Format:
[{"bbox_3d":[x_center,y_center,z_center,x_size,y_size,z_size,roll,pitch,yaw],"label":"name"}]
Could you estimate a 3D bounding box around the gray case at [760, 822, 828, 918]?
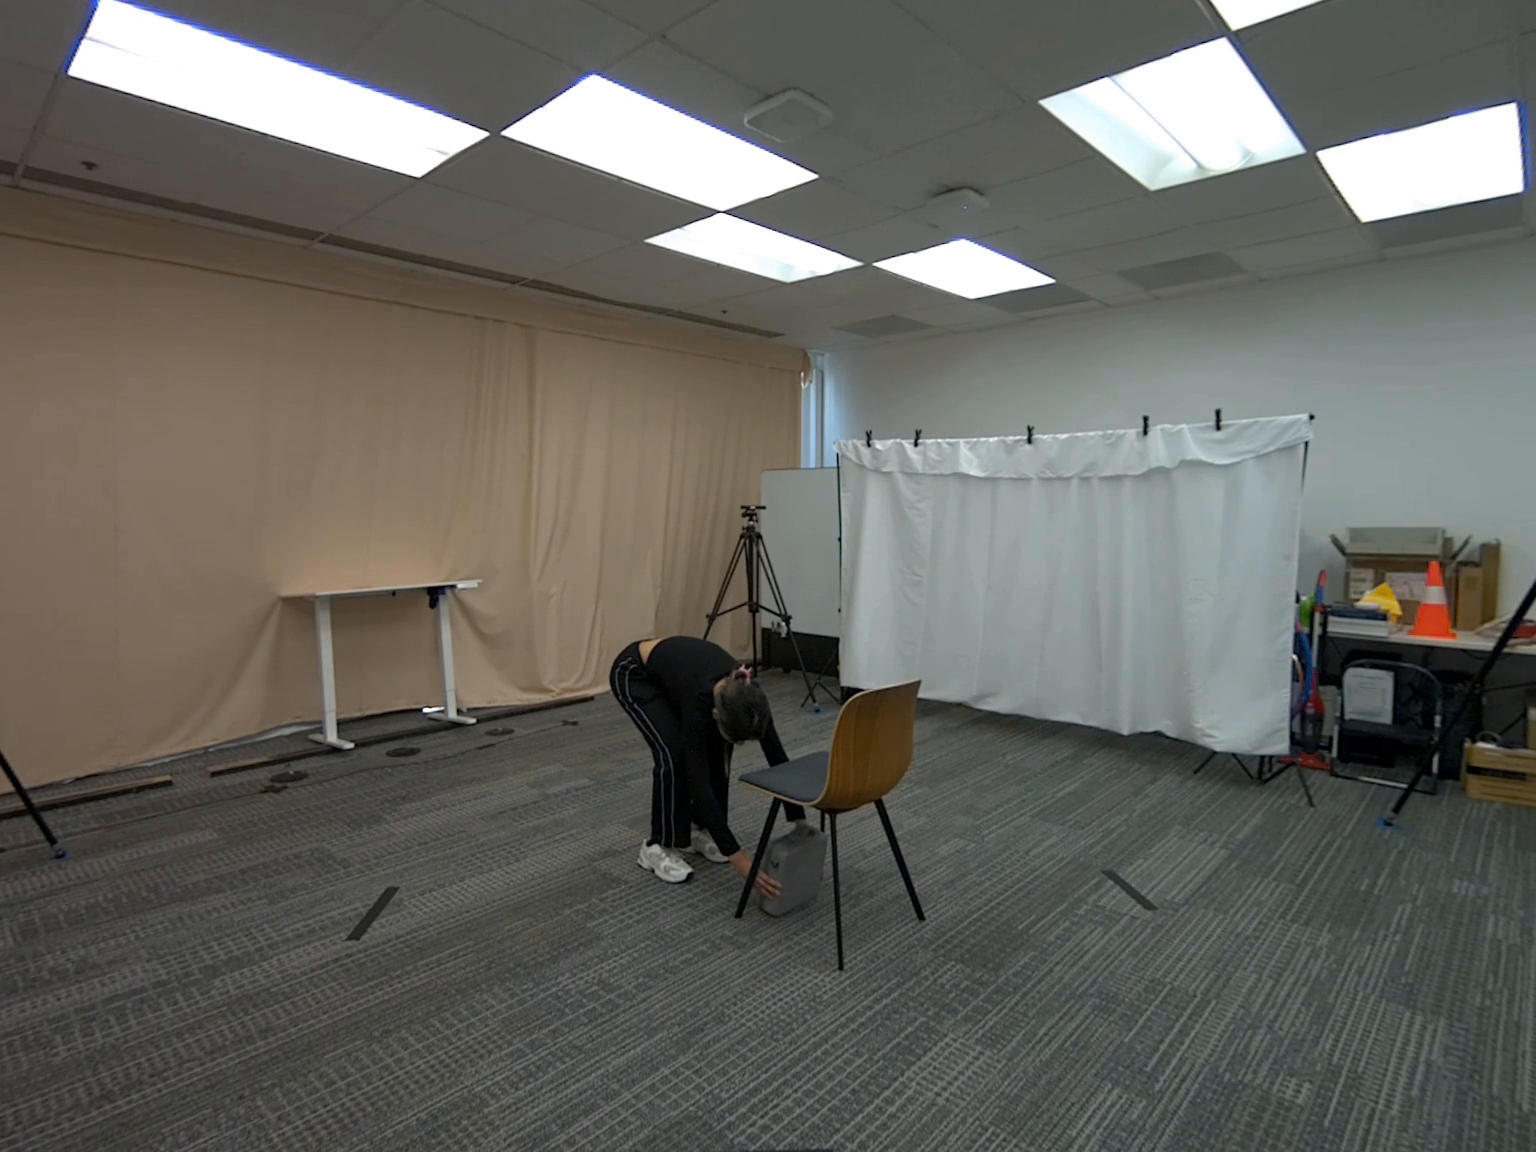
[{"bbox_3d":[0.083,1.012,2.927,0.108,0.259,0.249,19,16,41],"label":"gray case"}]
